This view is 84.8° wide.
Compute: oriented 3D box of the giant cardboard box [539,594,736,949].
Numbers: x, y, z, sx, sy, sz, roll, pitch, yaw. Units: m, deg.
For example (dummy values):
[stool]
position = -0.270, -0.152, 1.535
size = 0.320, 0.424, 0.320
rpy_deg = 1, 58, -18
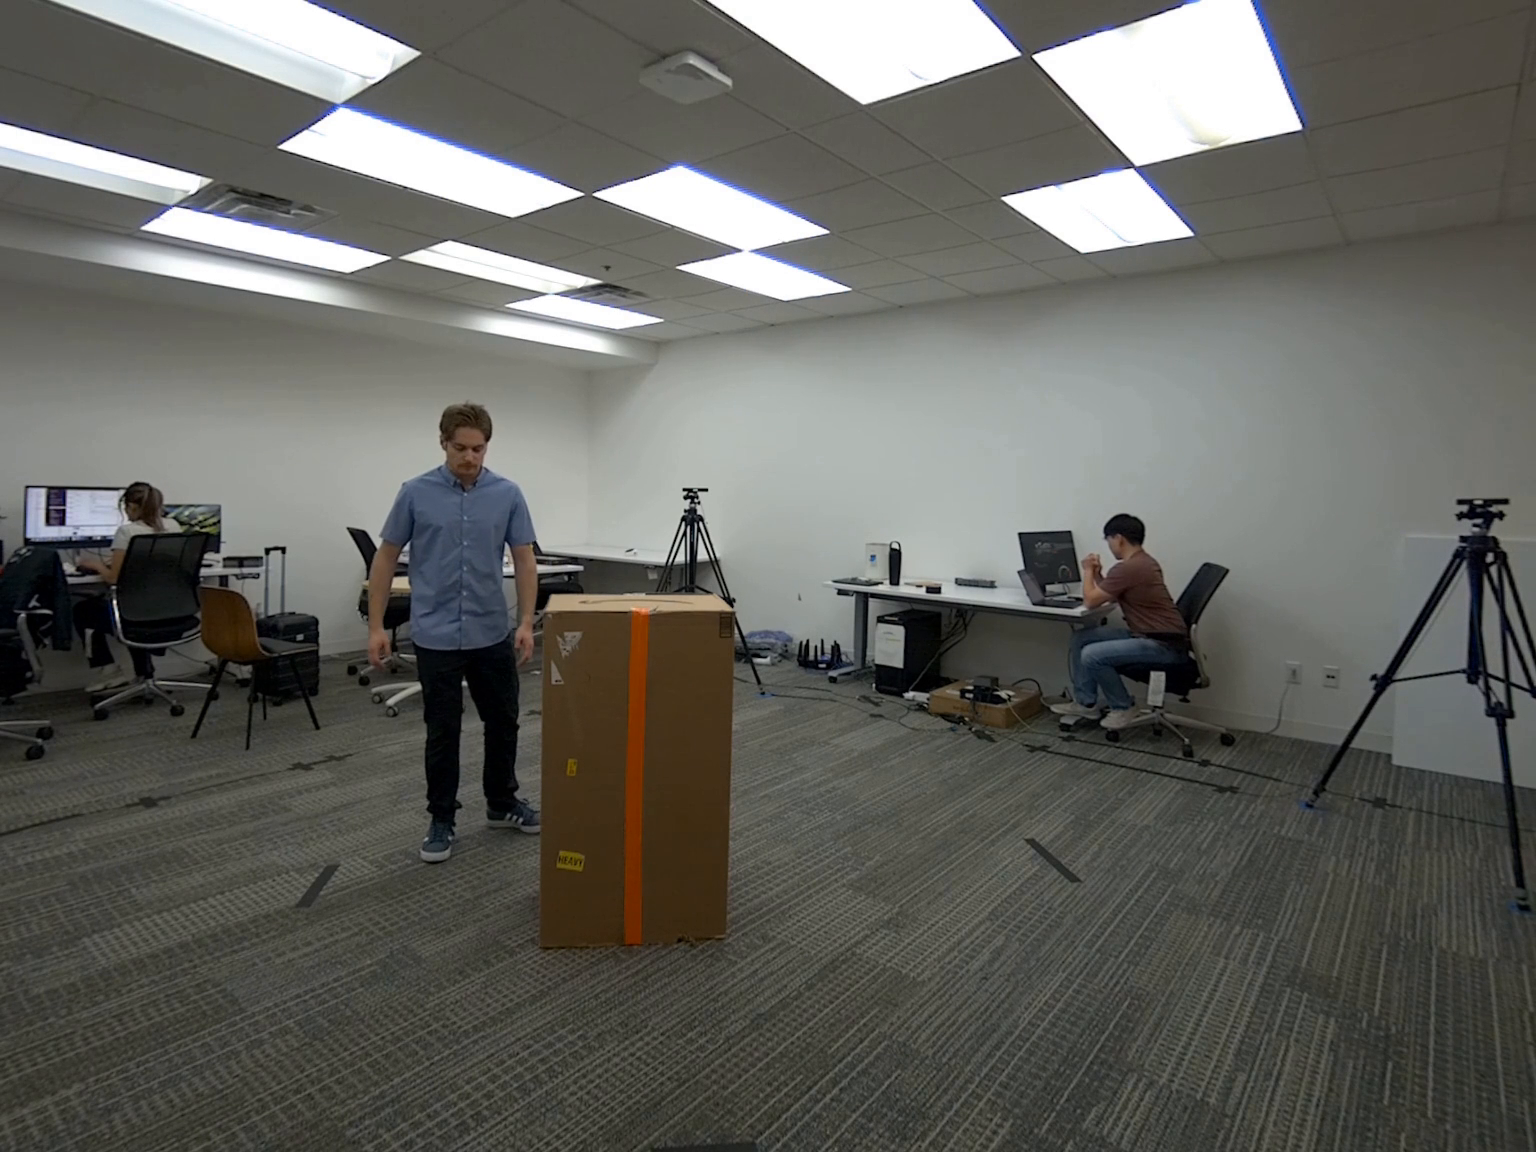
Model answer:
[giant cardboard box]
position = -0.446, 0.590, 2.766
size = 0.572, 1.023, 0.431
rpy_deg = 1, 3, -9
